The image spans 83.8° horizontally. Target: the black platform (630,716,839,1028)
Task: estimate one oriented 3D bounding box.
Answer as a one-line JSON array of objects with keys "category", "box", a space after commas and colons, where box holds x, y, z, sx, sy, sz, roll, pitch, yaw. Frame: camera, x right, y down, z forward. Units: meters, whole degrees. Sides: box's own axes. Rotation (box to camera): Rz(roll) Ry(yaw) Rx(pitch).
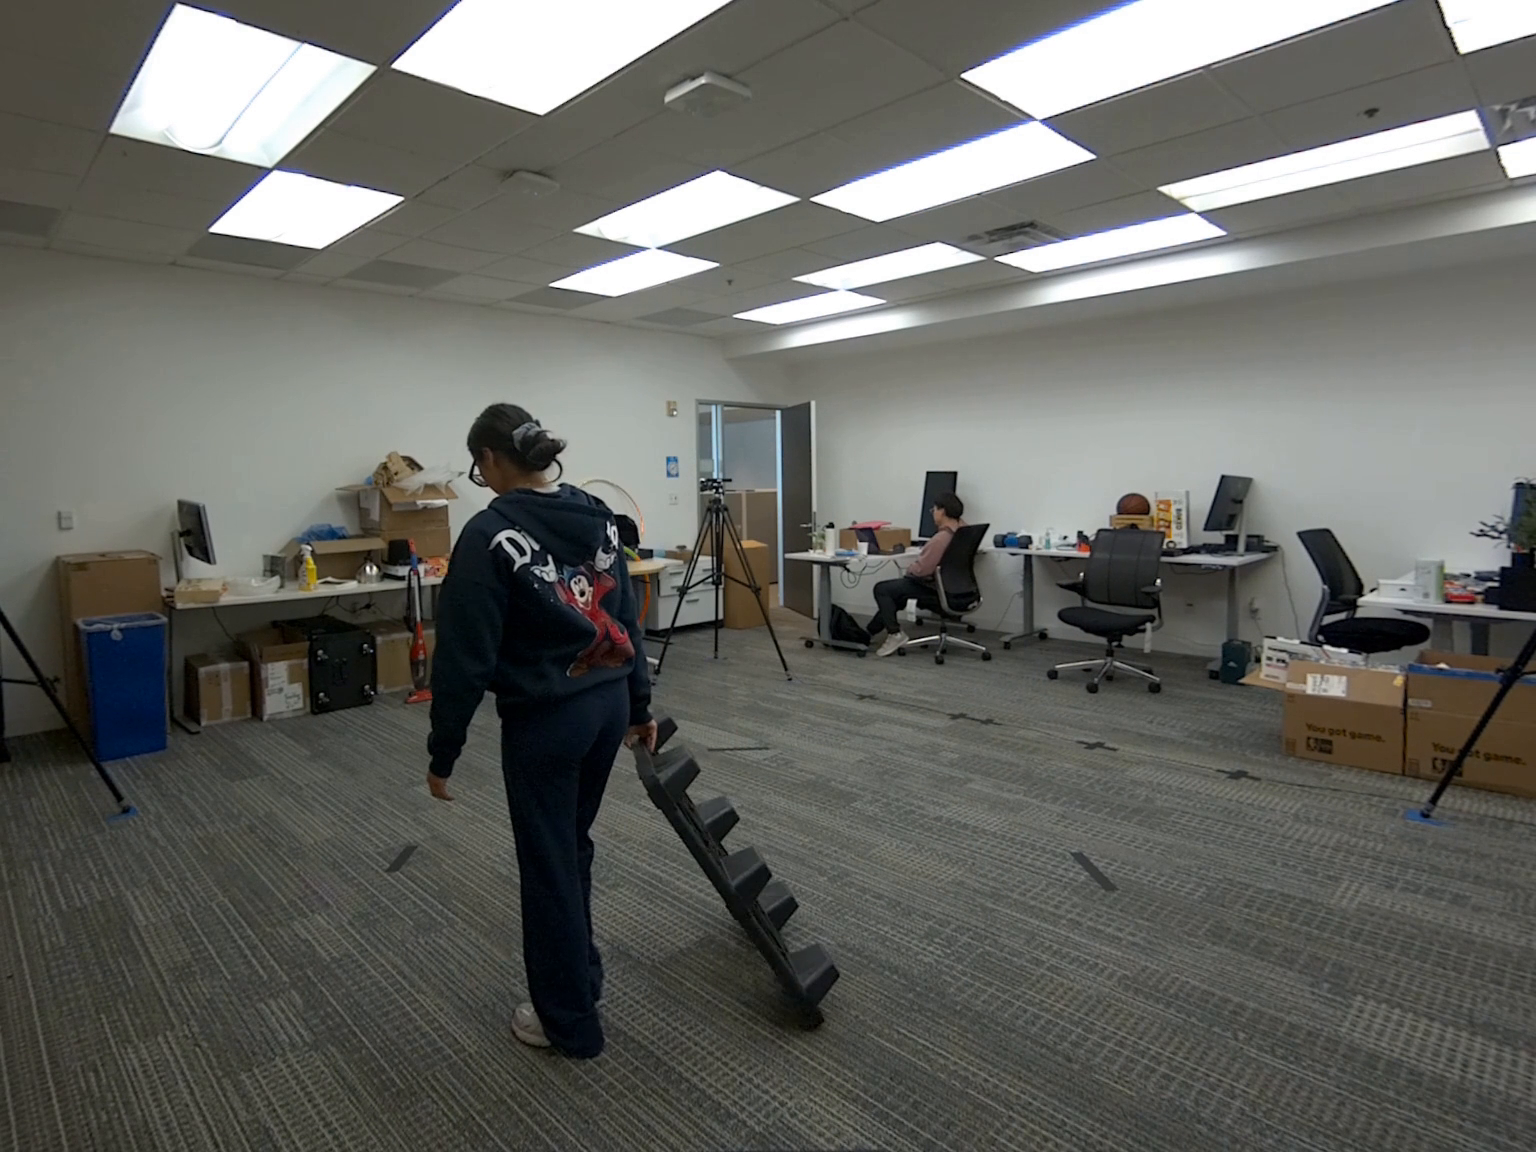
[{"category": "black platform", "box": [-0.108, 0.758, 2.399, 0.143, 0.796, 0.614, -34, 10, -8]}]
